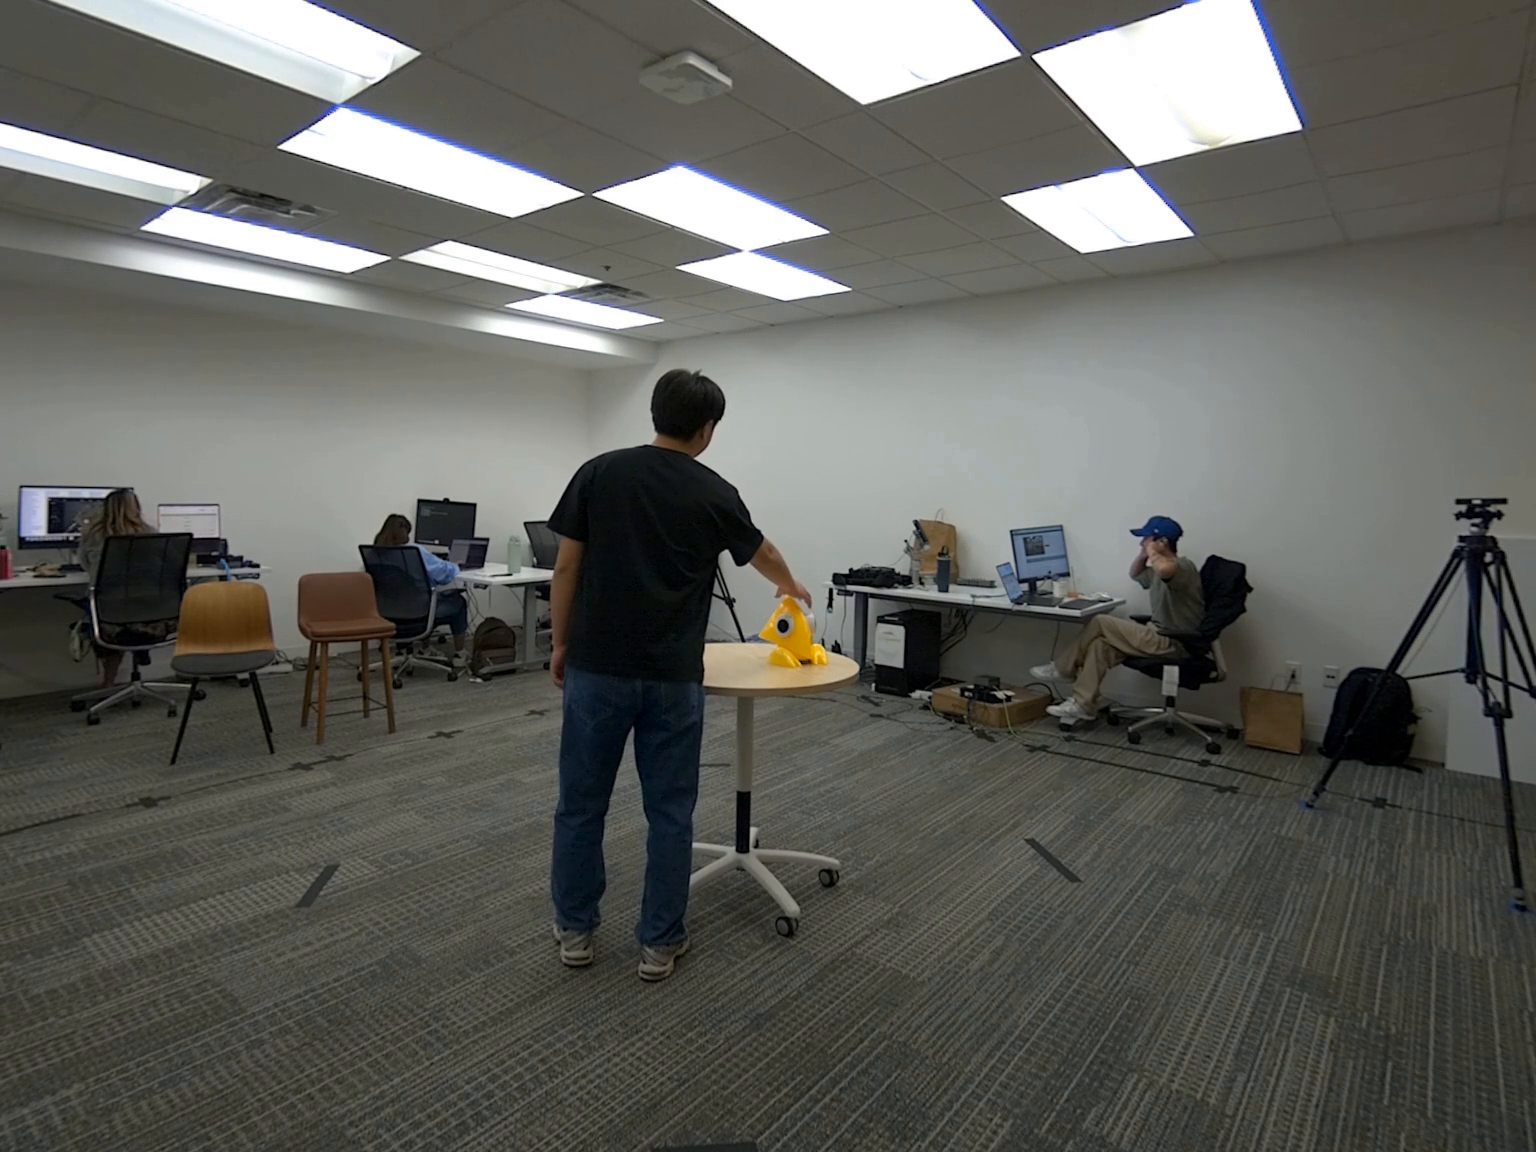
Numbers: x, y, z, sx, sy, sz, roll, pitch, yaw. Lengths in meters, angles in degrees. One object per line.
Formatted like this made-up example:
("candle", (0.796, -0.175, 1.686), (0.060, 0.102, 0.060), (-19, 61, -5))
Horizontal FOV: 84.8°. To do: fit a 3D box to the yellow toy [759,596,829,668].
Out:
("yellow toy", (0.092, 0.179, 2.944), (0.199, 0.230, 0.198), (-1, 3, -29))
